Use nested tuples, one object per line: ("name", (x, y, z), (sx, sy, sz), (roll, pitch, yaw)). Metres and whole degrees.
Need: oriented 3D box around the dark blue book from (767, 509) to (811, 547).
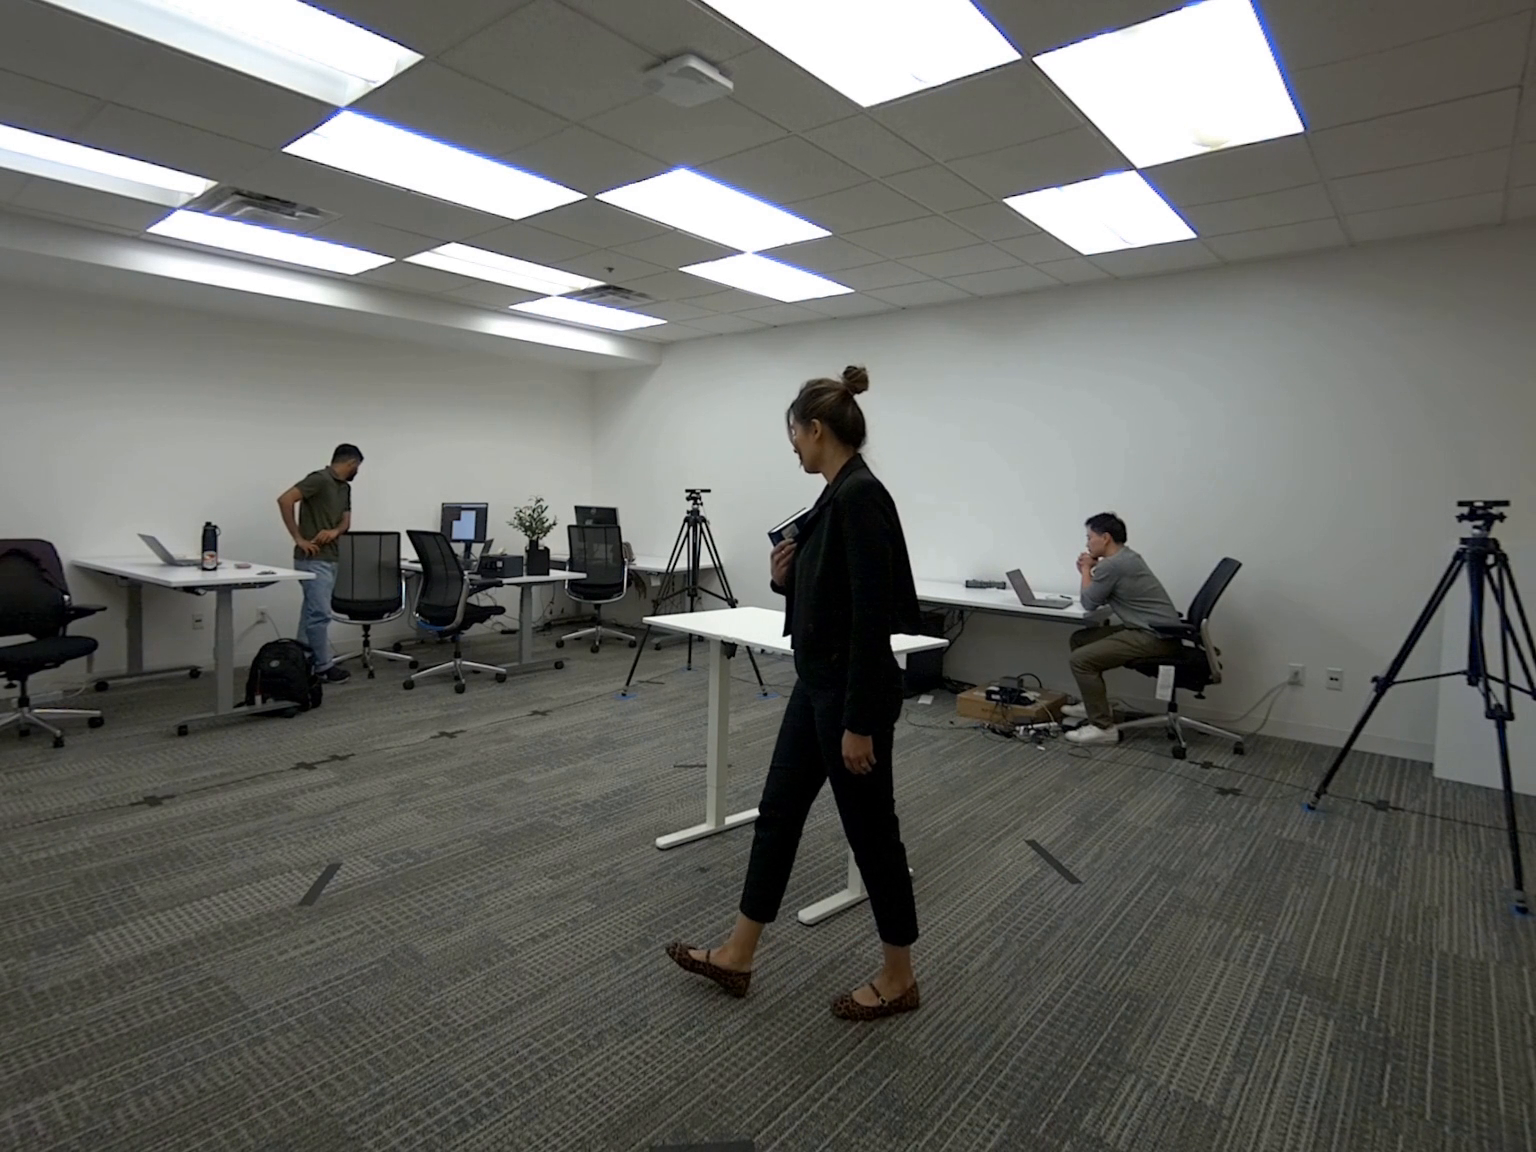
("dark blue book", (0.108, -0.055, 2.413), (0.162, 0.242, 0.046), (-32, 11, -31))
